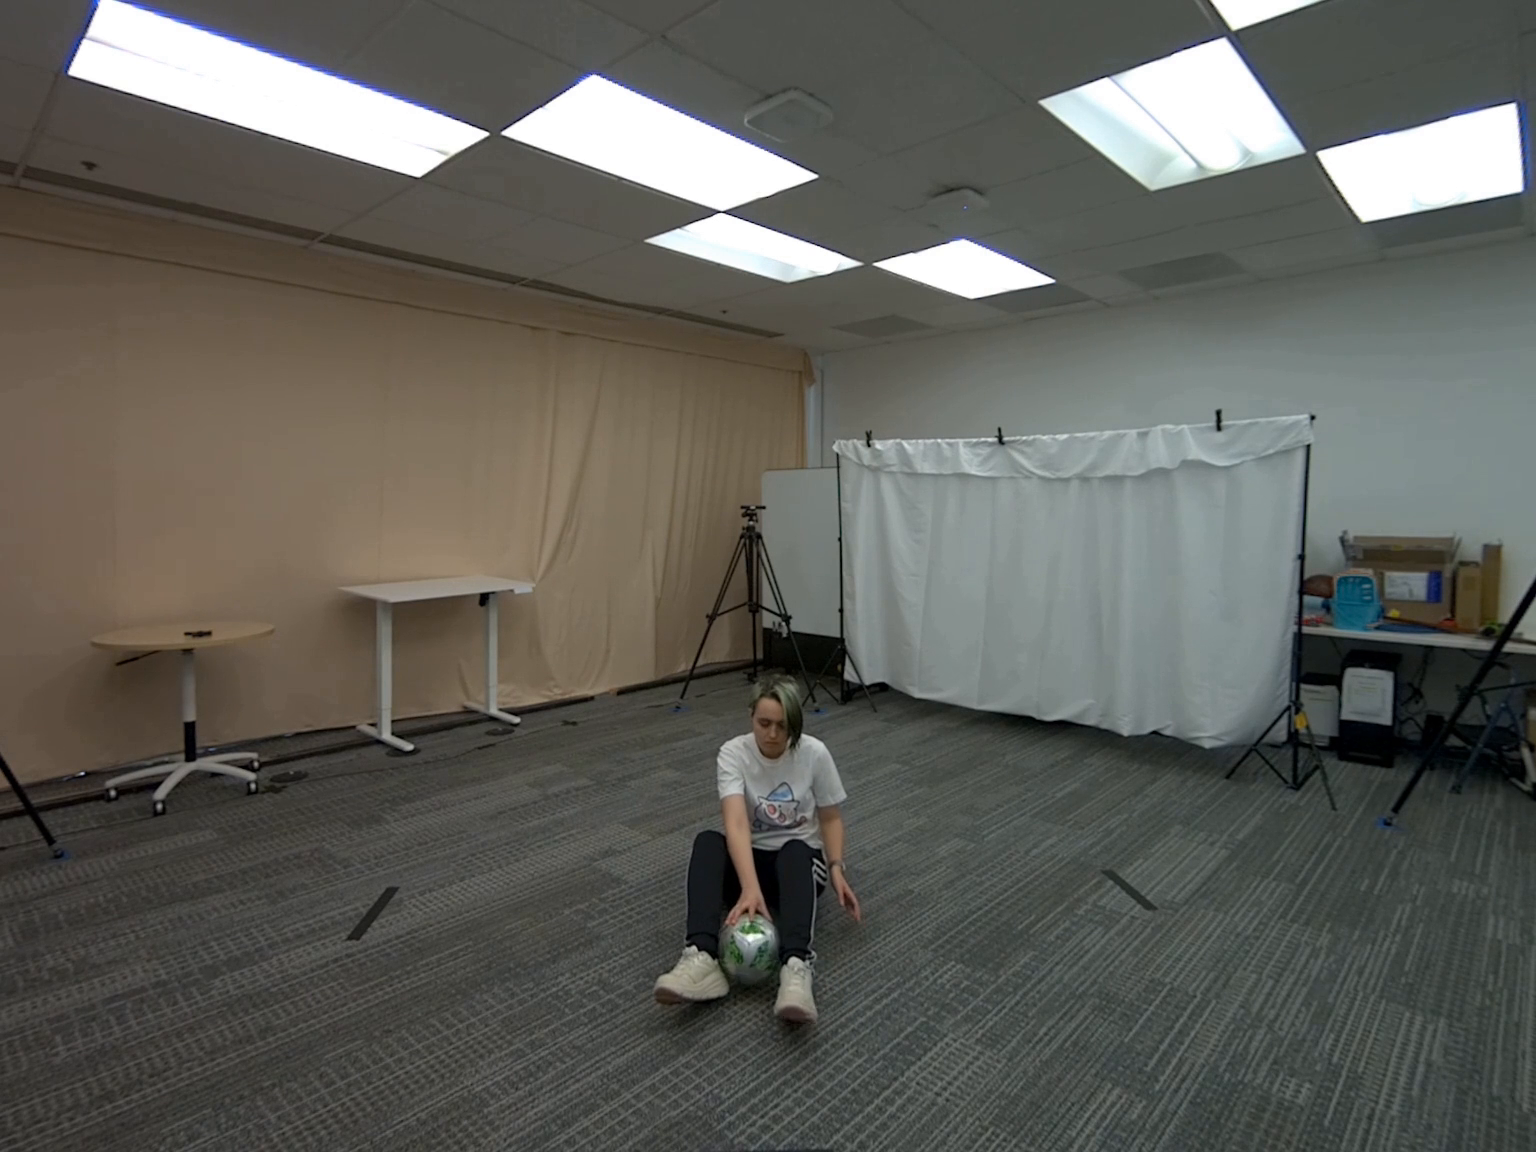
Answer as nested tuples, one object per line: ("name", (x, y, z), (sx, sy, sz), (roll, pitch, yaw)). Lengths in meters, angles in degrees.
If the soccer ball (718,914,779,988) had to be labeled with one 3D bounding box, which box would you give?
("soccer ball", (-0.051, 1.060, 2.414), (0.187, 0.187, 0.188), (0, 4, -2))
